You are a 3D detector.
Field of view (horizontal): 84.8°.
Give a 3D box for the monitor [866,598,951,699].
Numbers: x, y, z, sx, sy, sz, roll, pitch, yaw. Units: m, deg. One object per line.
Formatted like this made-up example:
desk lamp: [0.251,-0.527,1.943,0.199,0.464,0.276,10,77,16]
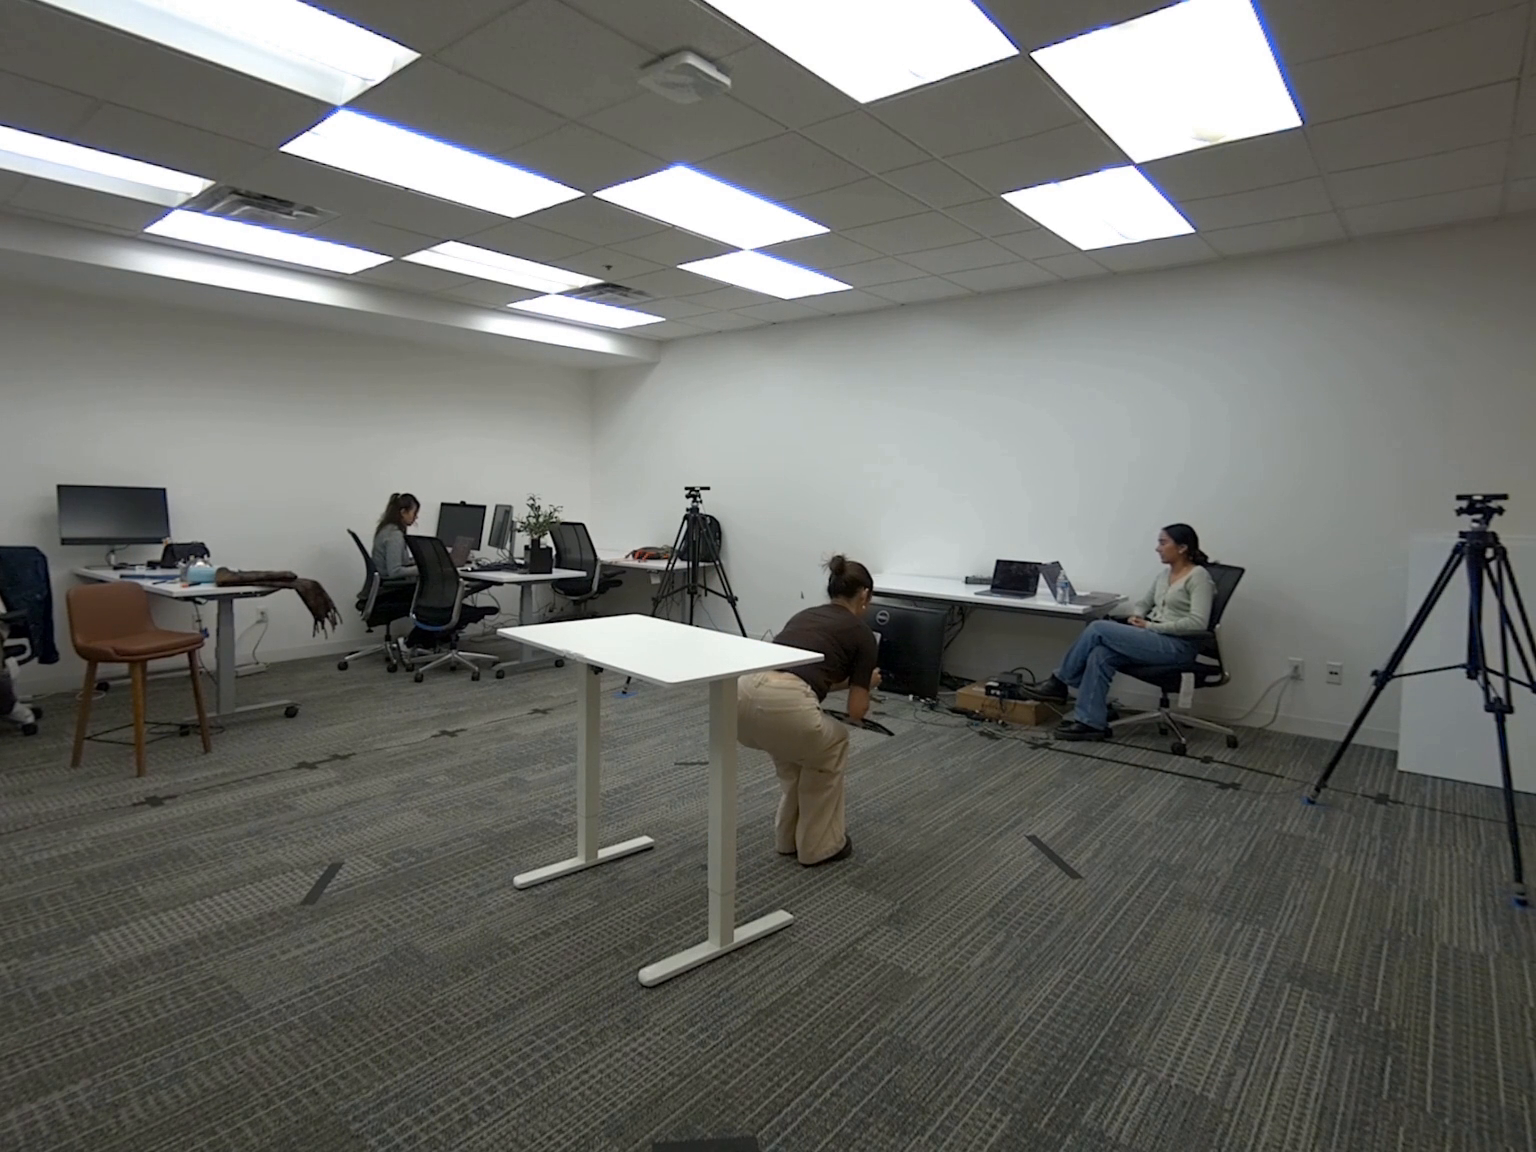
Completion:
monitor: [0.422,0.360,3.499,0.557,0.527,0.179,7,-18,37]
